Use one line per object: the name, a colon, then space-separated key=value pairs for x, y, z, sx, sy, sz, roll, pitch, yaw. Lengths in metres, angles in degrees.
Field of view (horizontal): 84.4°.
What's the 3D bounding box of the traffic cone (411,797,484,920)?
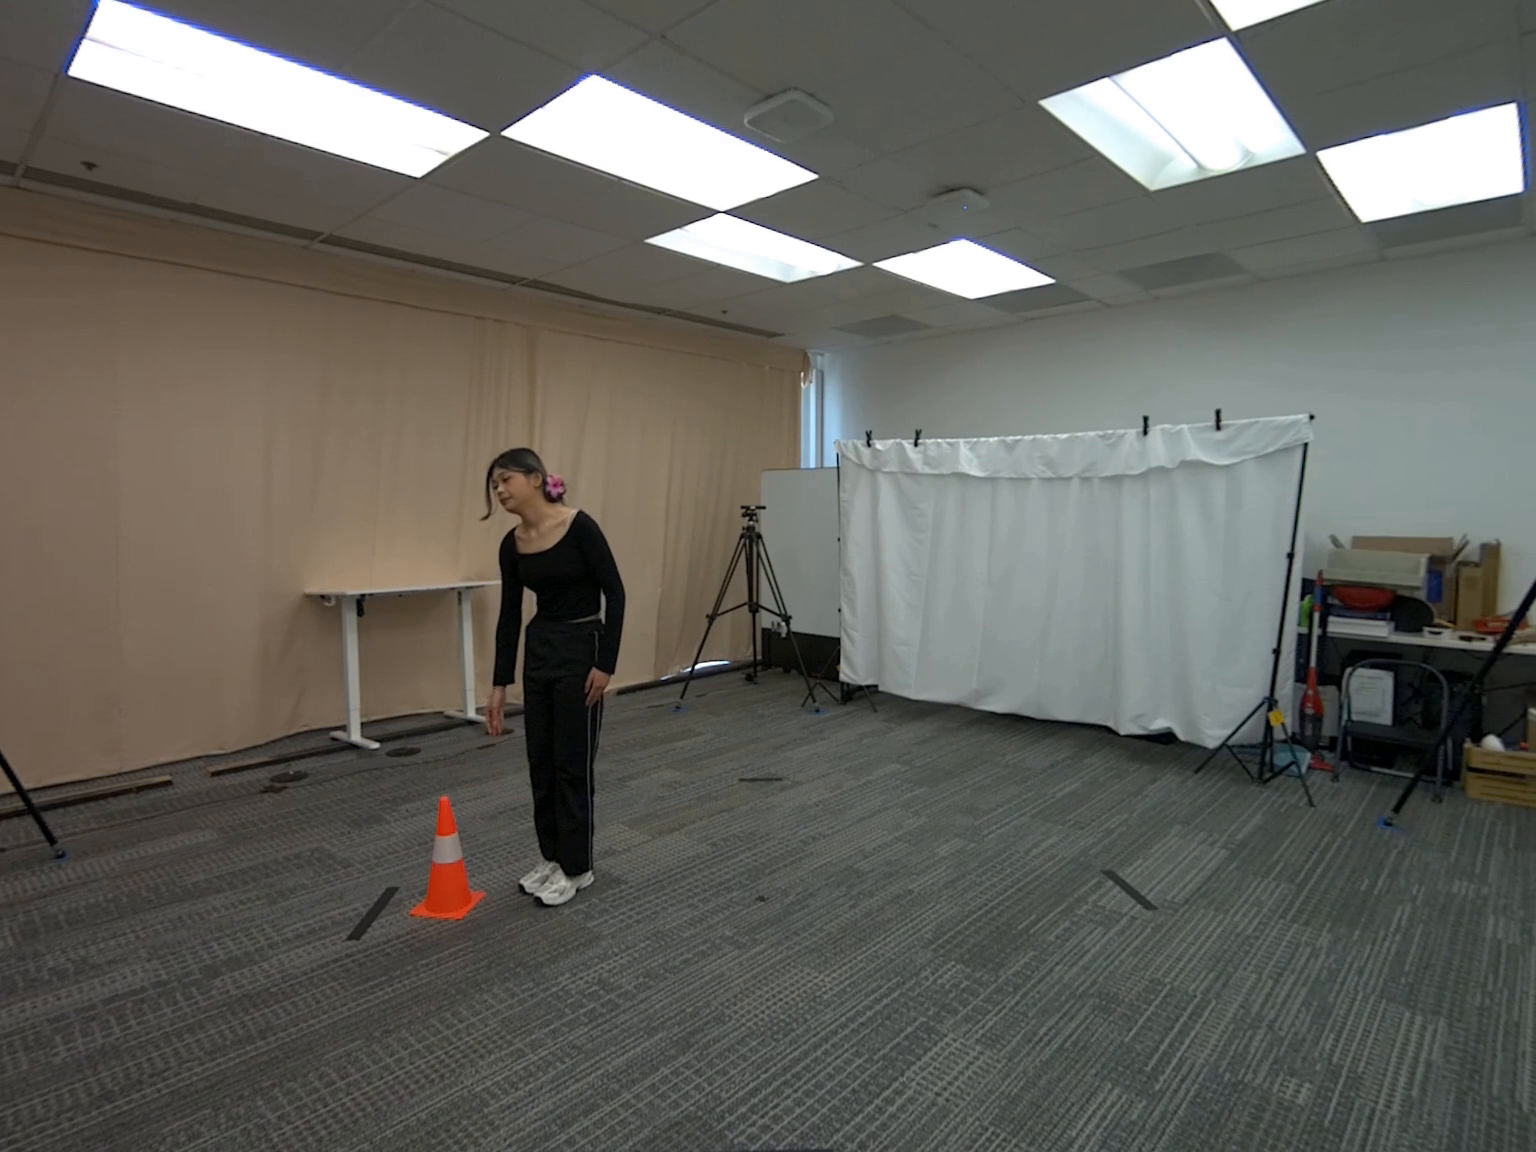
traffic cone: x=-1.134 y=0.971 z=2.958 sx=0.206 sy=0.383 sz=0.202 roll=-1 pitch=1 yaw=6
